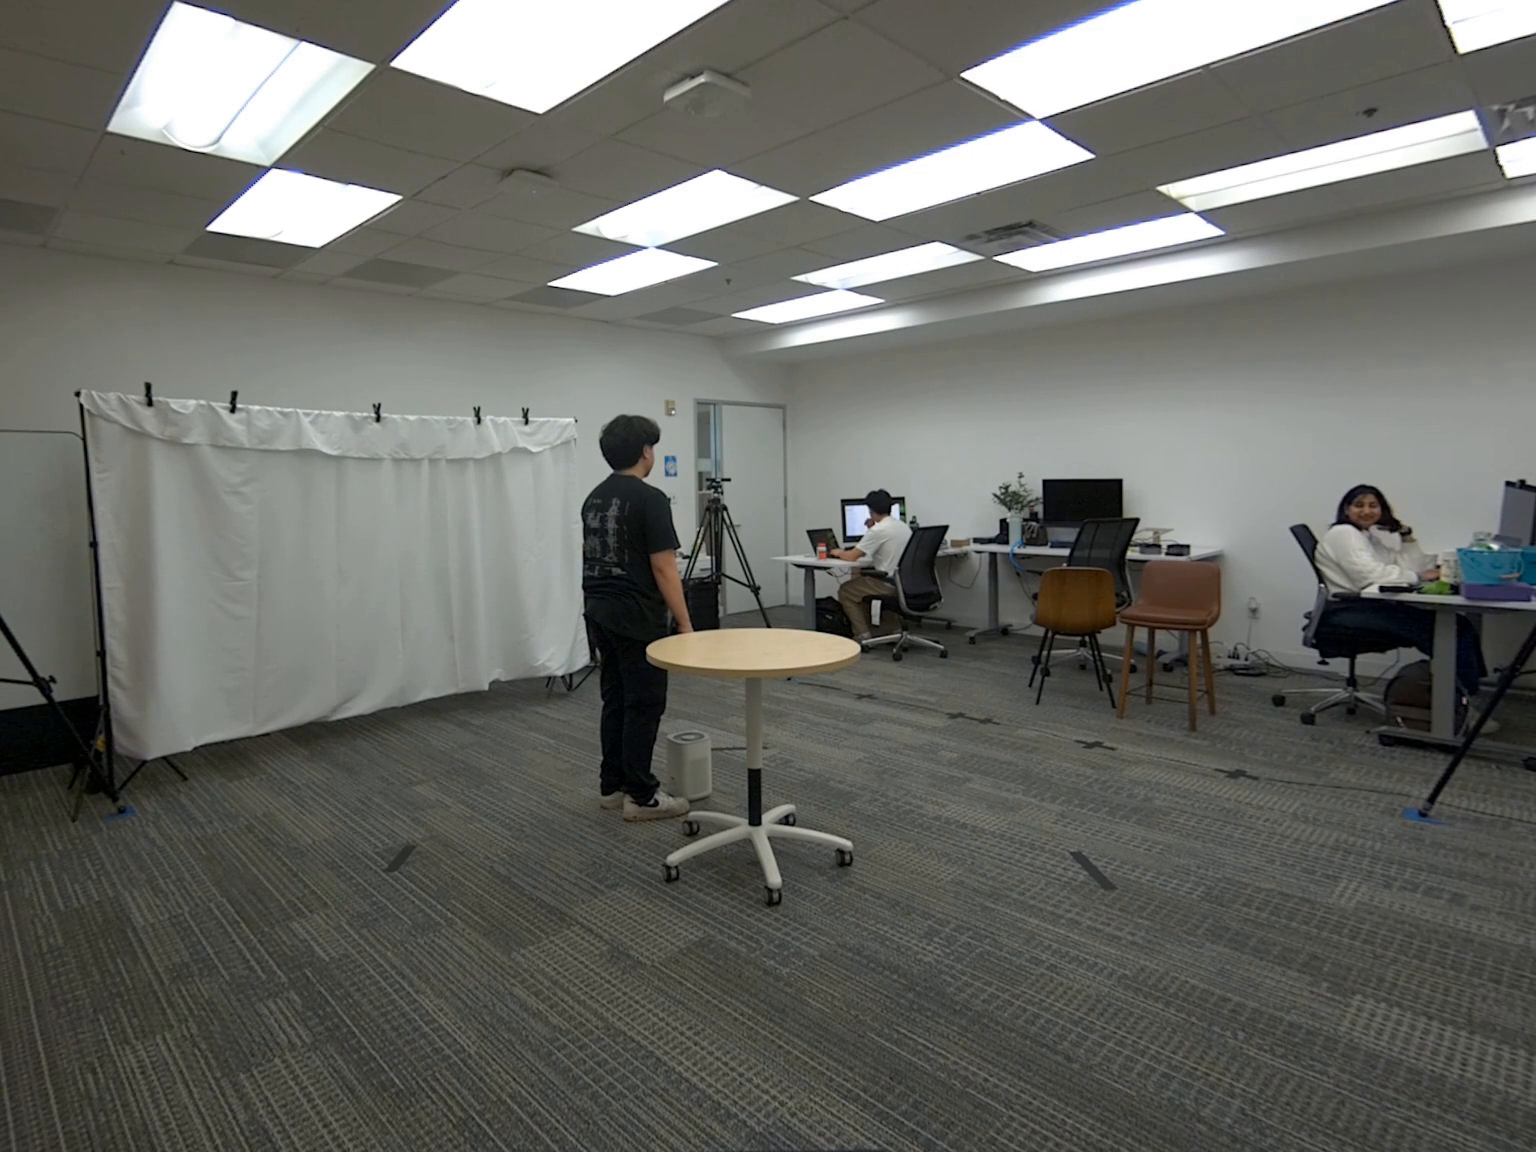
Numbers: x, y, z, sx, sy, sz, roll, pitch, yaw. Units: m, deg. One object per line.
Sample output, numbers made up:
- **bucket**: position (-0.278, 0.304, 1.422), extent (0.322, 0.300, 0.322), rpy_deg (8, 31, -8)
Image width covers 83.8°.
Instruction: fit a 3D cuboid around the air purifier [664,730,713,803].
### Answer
- **air purifier**: position (-0.344, 0.839, 3.781), extent (0.167, 0.264, 0.176), rpy_deg (-2, 5, -35)
